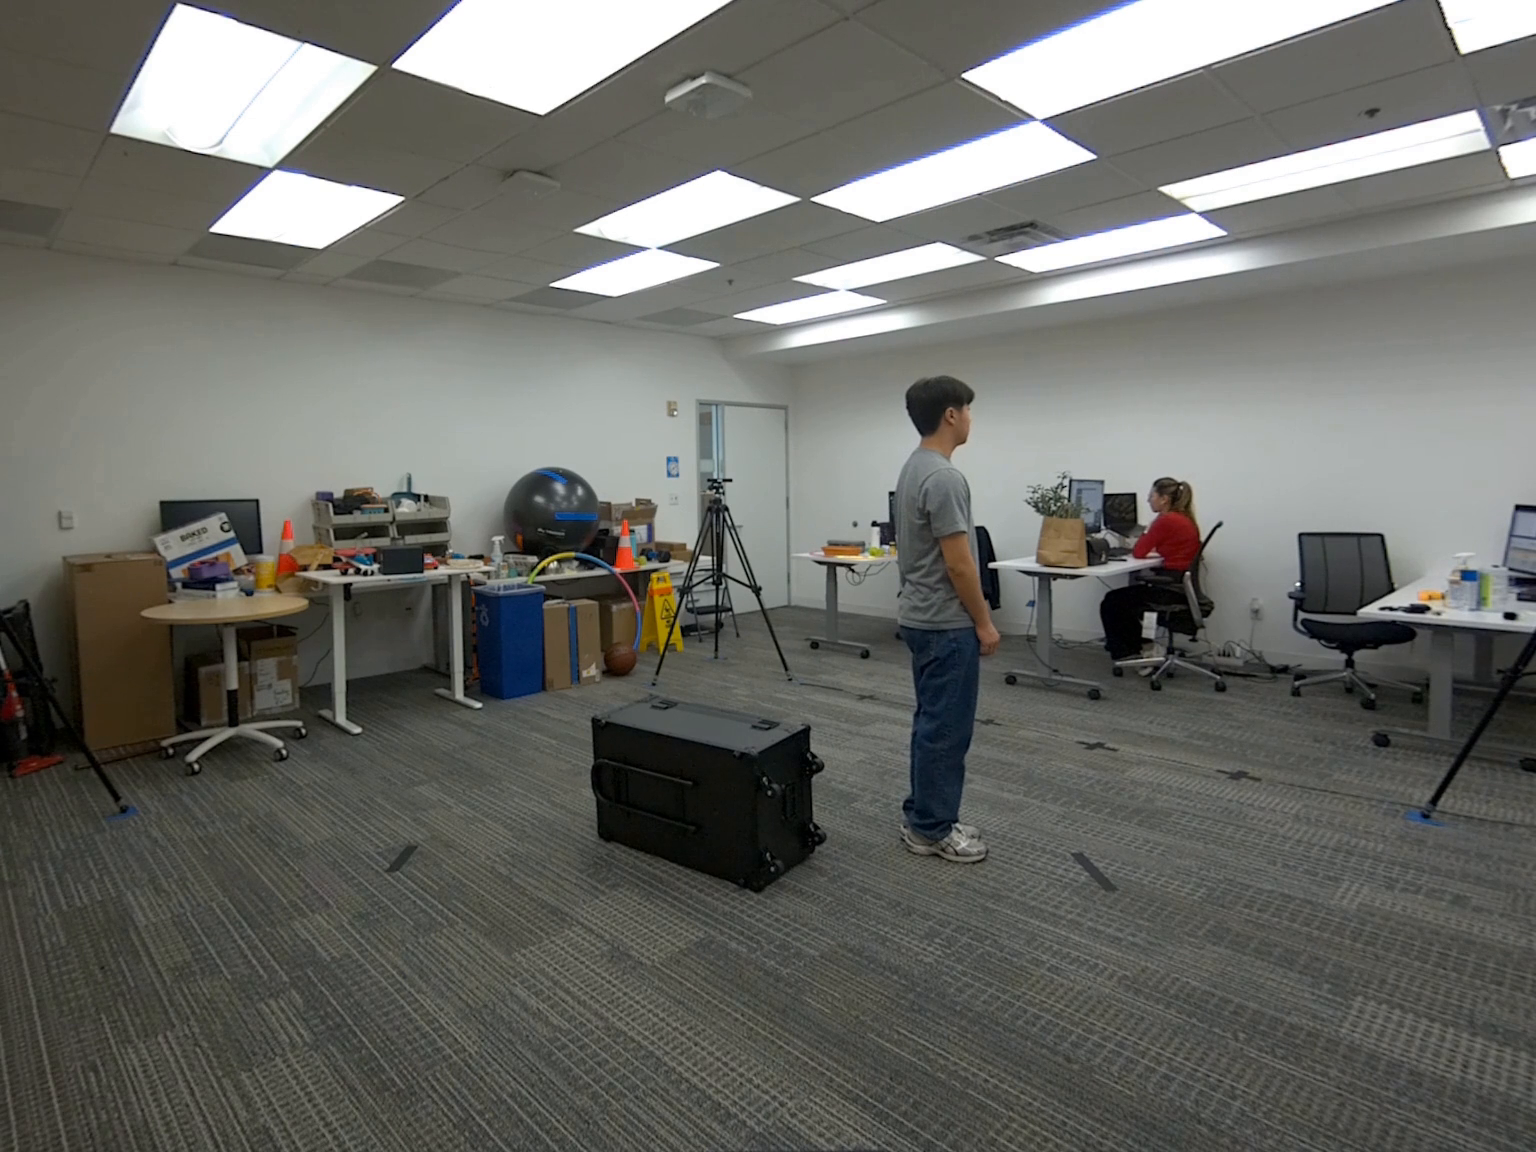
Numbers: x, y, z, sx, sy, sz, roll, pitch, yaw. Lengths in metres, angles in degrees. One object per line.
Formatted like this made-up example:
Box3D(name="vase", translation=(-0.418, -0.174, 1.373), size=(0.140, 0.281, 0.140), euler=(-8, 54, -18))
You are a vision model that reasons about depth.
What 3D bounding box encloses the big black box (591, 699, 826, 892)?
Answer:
Box3D(name="big black box", translation=(-0.238, 0.781, 3.202), size=(0.886, 0.518, 0.387), euler=(3, 8, 36))
